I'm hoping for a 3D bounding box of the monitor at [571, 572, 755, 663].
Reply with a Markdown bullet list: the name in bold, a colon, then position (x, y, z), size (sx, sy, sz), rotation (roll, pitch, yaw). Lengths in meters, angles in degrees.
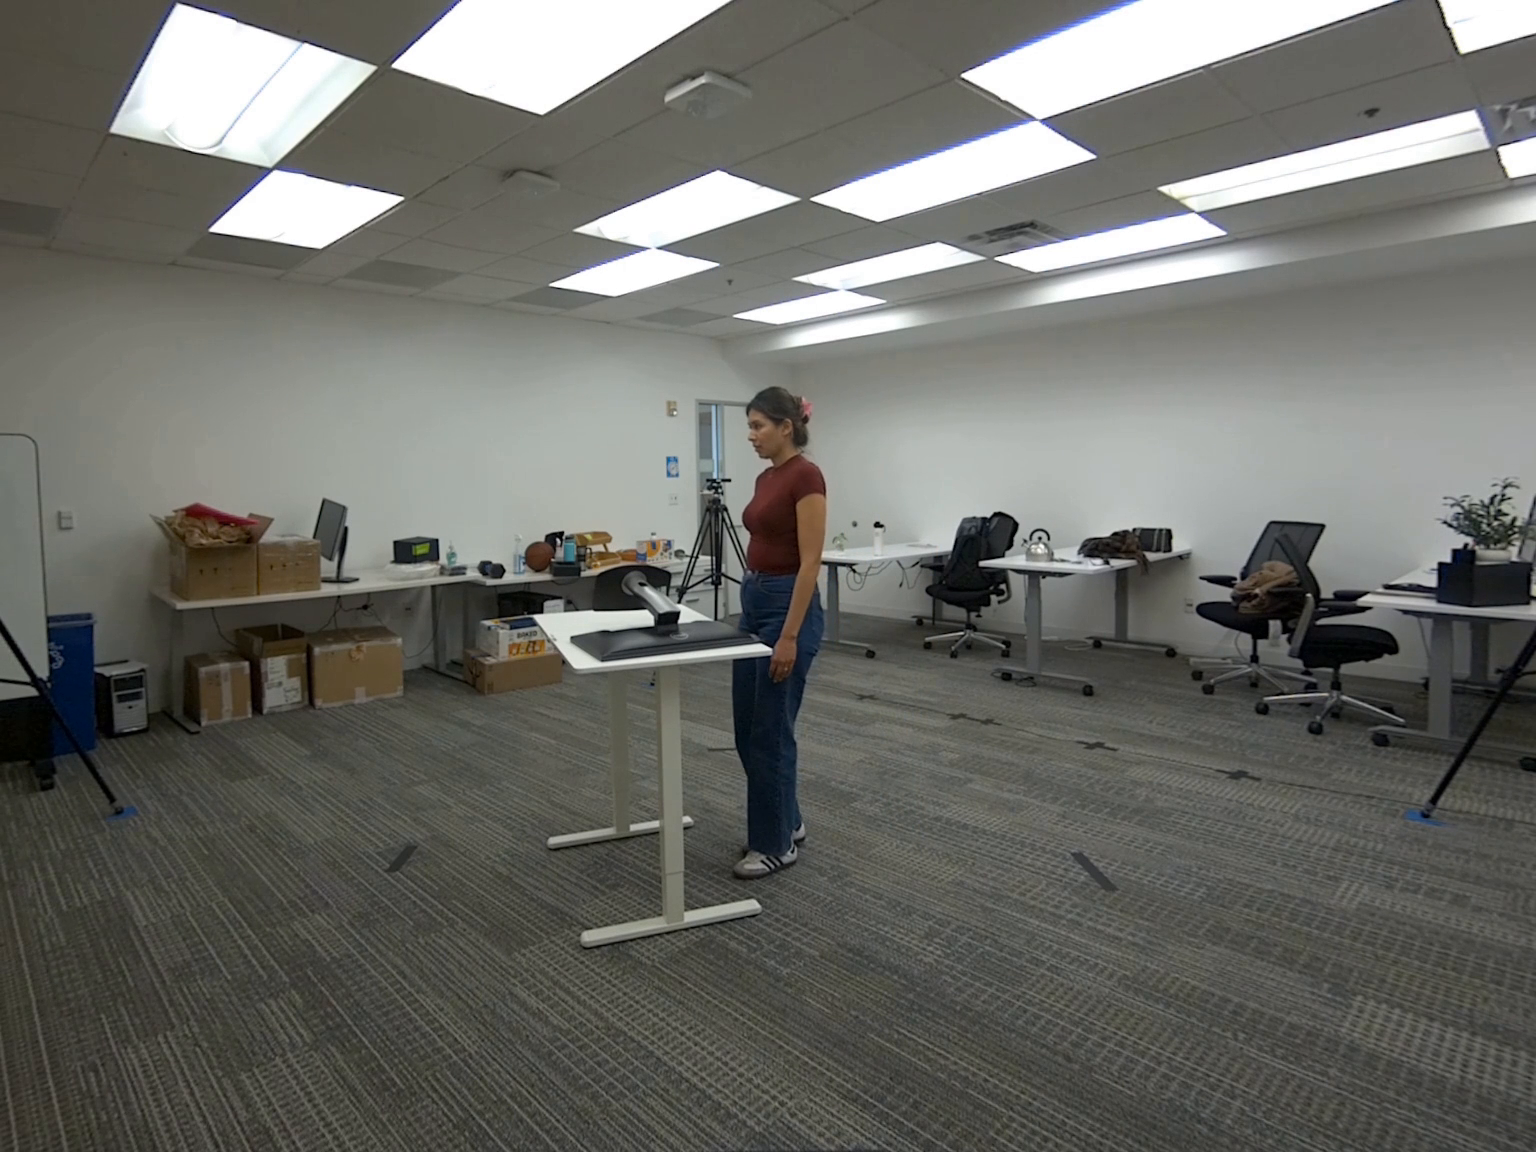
- **monitor**: position (-0.356, 0.141, 2.798), size (0.528, 0.184, 0.542), rotation (-5, 24, -25)
